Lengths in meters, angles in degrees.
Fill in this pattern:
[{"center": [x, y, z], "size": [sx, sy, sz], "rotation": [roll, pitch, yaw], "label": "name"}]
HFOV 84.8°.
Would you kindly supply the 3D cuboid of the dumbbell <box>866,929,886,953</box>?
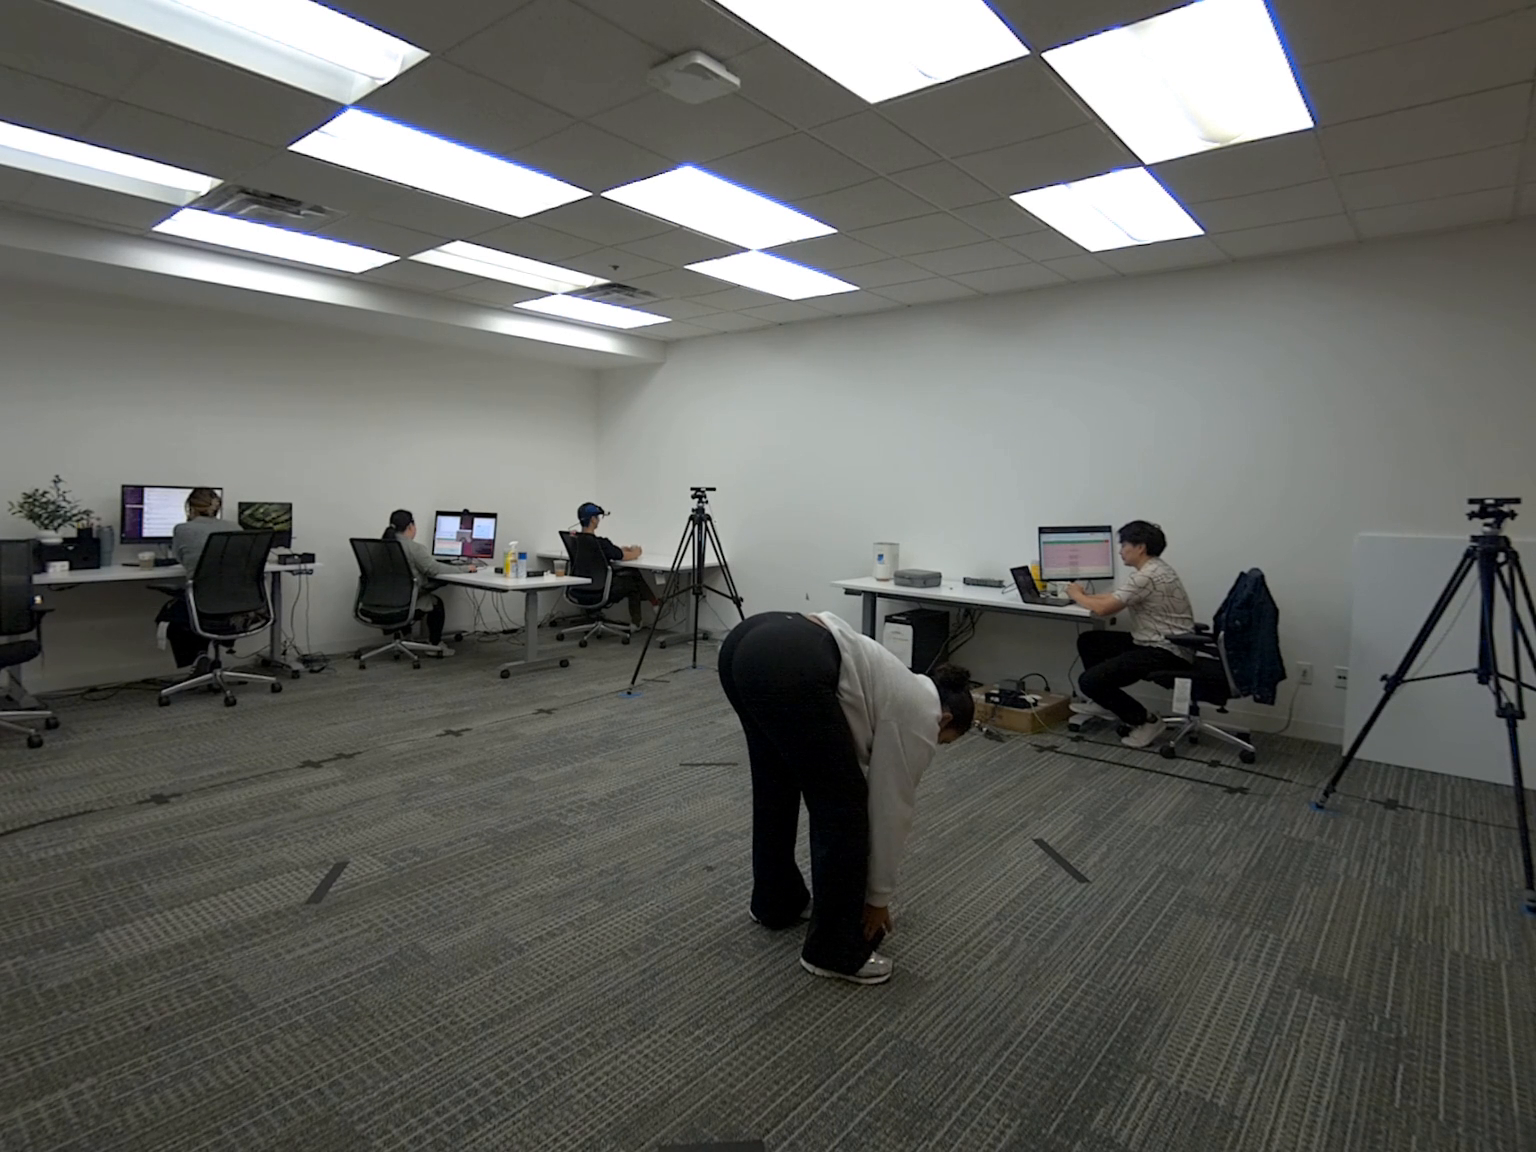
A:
[{"center": [0.268, 1.067, 2.693], "size": [0.108, 0.122, 0.297], "rotation": [-30, 8, -7], "label": "dumbbell"}]
